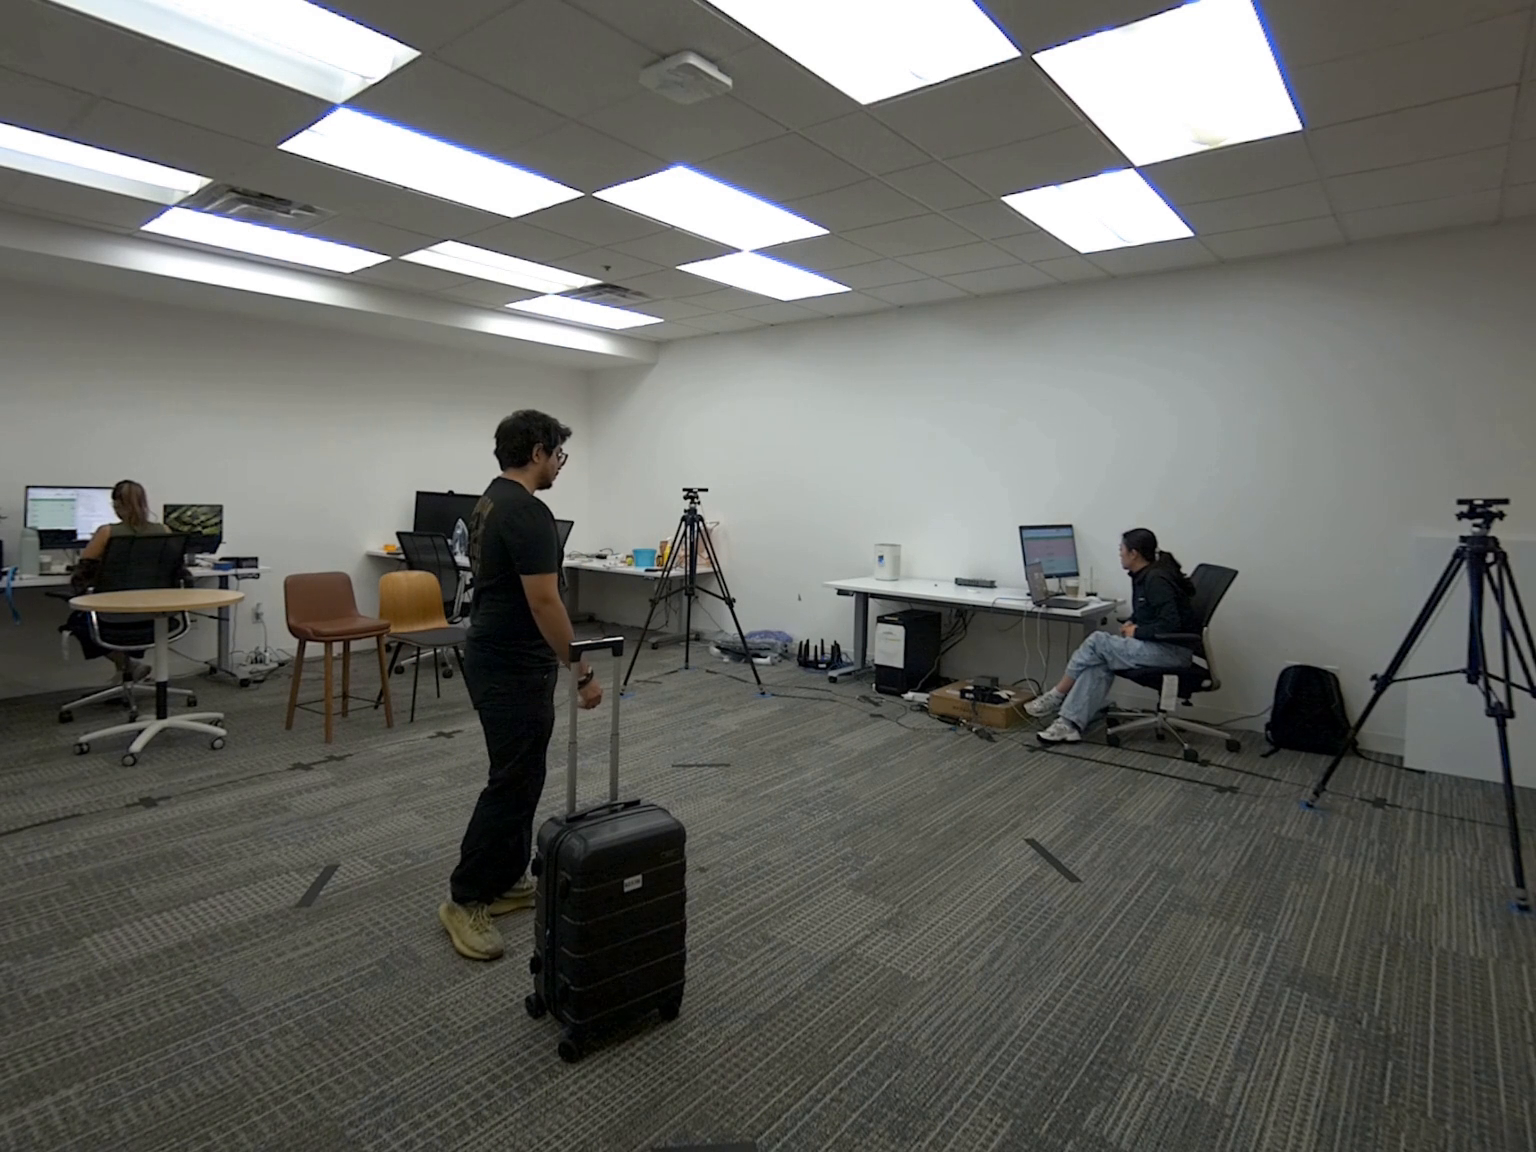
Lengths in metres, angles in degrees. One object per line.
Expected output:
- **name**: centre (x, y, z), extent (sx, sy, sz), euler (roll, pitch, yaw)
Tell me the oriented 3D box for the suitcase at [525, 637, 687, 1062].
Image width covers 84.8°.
- **suitcase**: centre (-0.406, 0.679, 2.199), extent (0.372, 0.974, 0.266), euler (-1, 6, -37)
